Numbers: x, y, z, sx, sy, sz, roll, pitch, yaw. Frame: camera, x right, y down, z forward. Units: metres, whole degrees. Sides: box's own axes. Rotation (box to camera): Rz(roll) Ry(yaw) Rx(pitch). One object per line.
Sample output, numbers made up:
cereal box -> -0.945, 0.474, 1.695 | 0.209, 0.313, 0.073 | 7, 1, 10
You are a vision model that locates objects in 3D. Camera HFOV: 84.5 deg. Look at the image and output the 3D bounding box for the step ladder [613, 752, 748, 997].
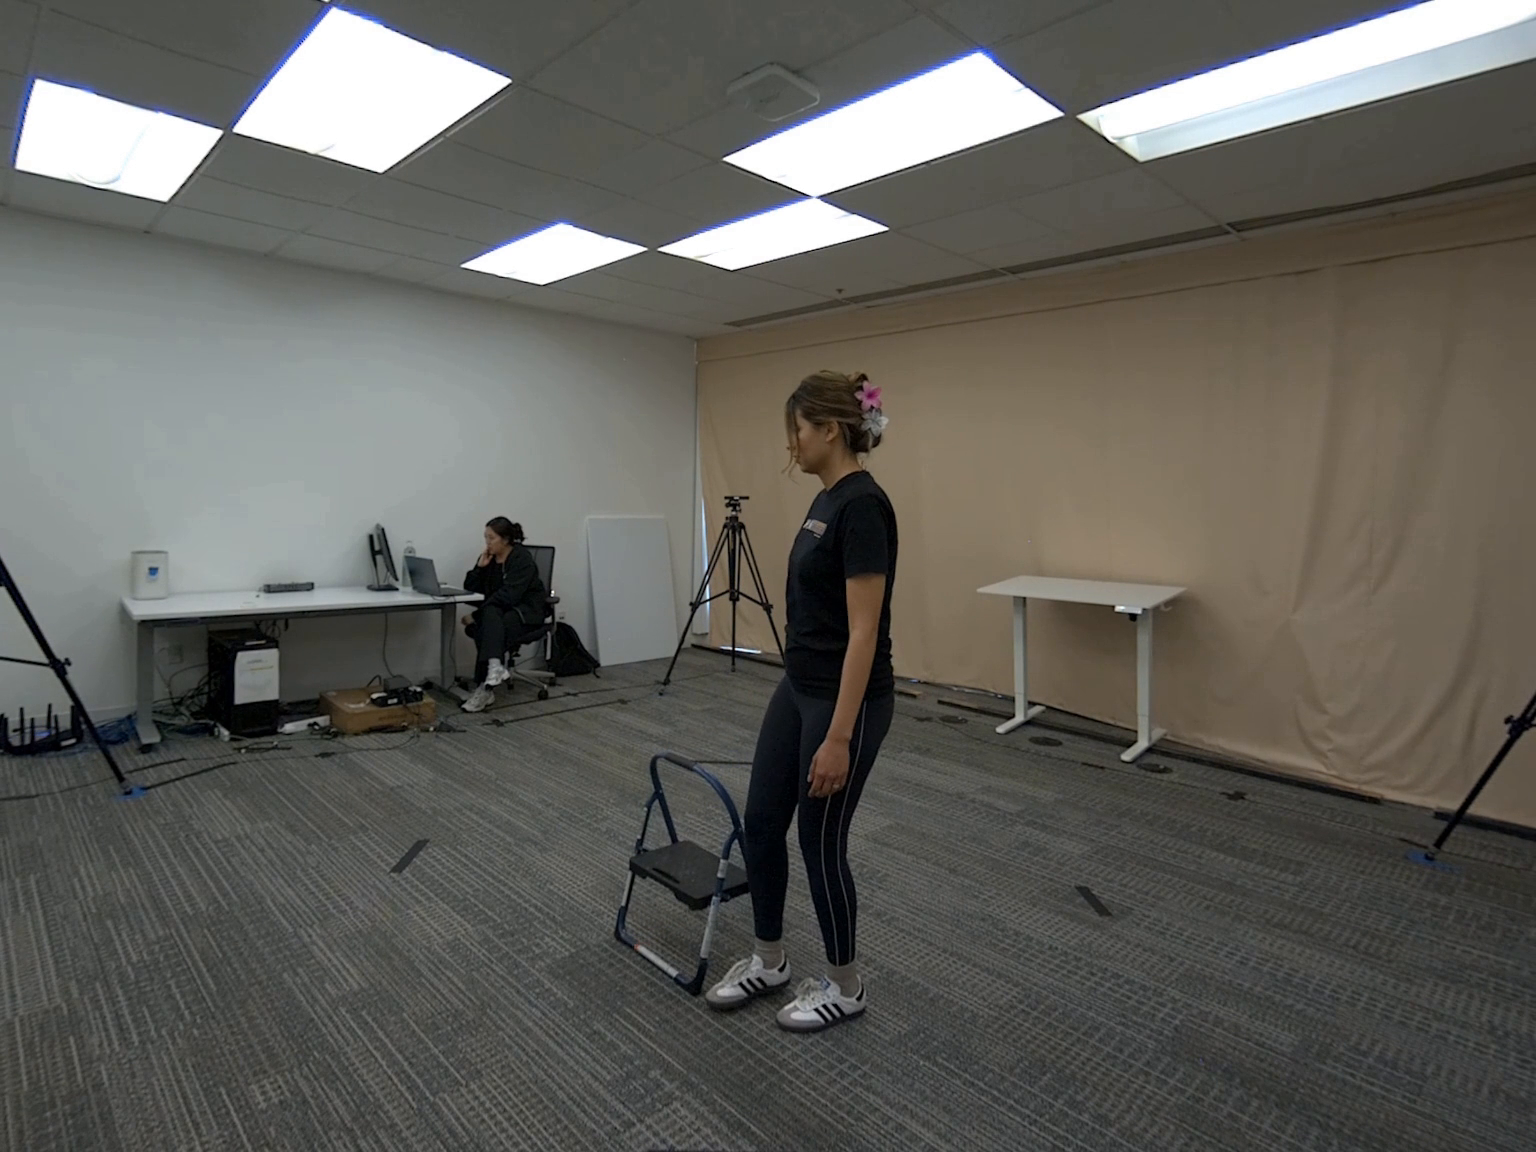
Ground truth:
step ladder -> -0.221, 0.847, 2.589 | 0.341, 0.605, 0.441 | -2, 5, -43
